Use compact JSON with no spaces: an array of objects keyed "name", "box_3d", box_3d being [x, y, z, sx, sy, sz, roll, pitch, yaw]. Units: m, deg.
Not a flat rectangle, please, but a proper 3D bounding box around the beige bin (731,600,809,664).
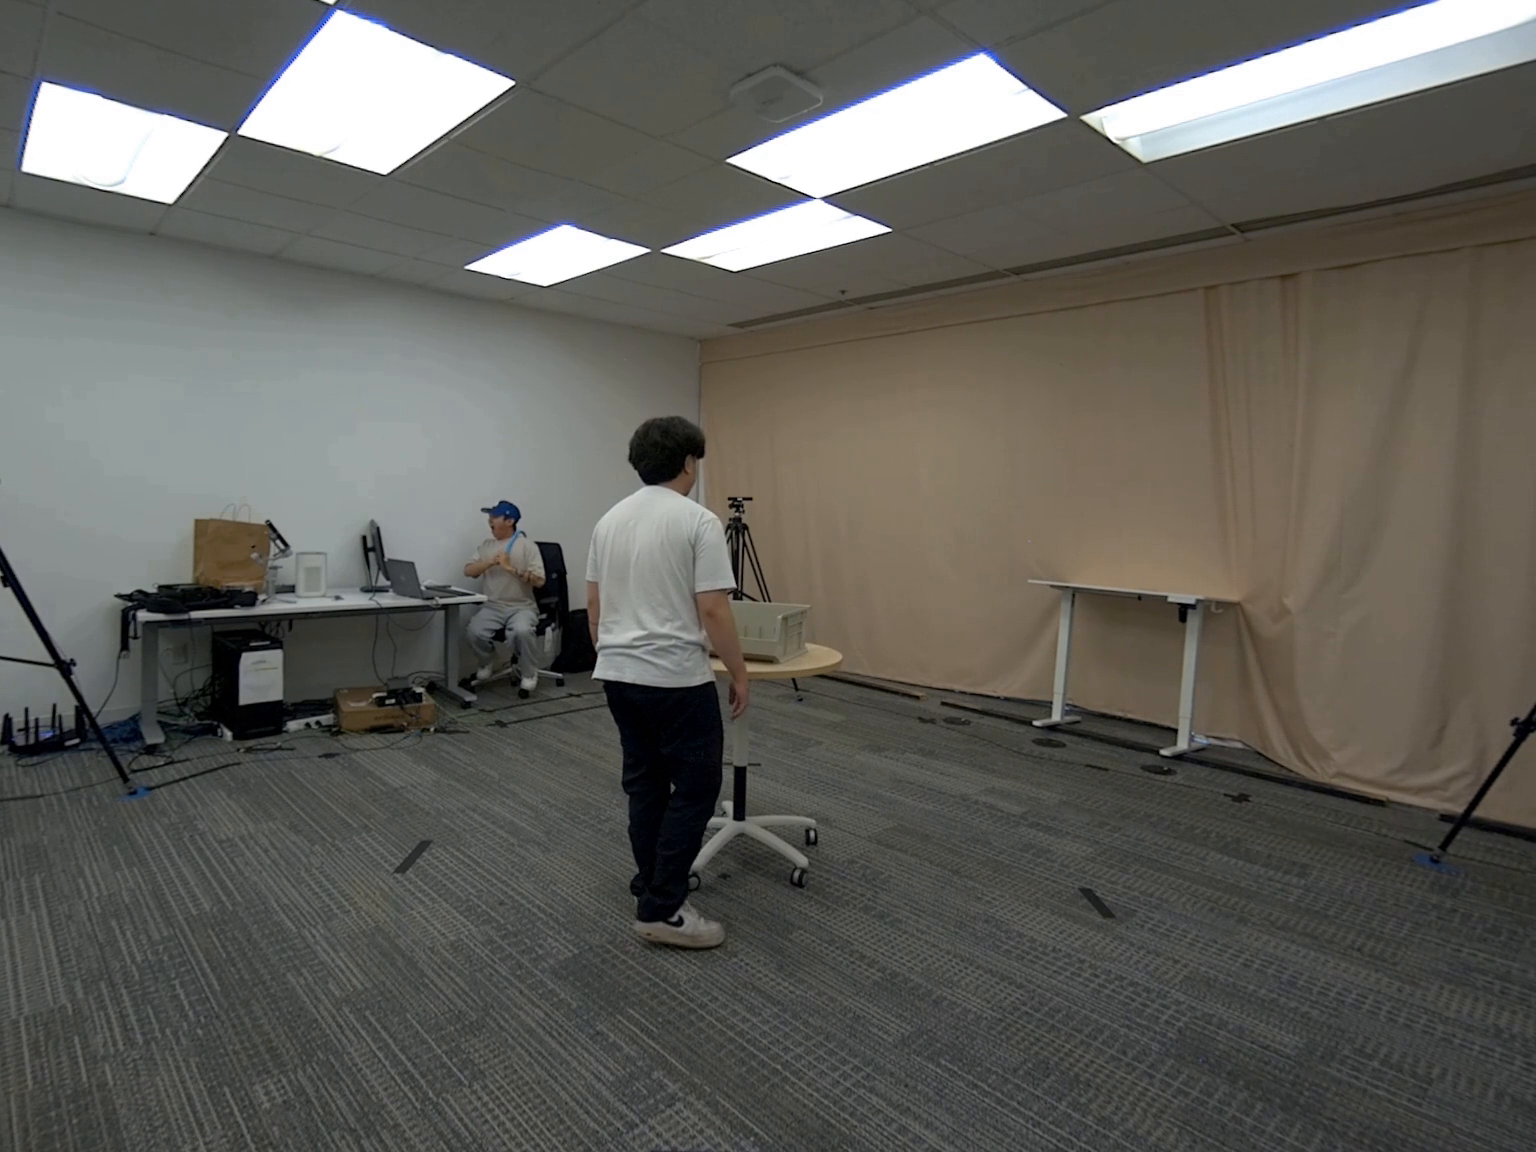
[{"name":"beige bin","box_3d":[-0.095,0.212,3.249,0.430,0.189,0.371,2,3,22]}]
